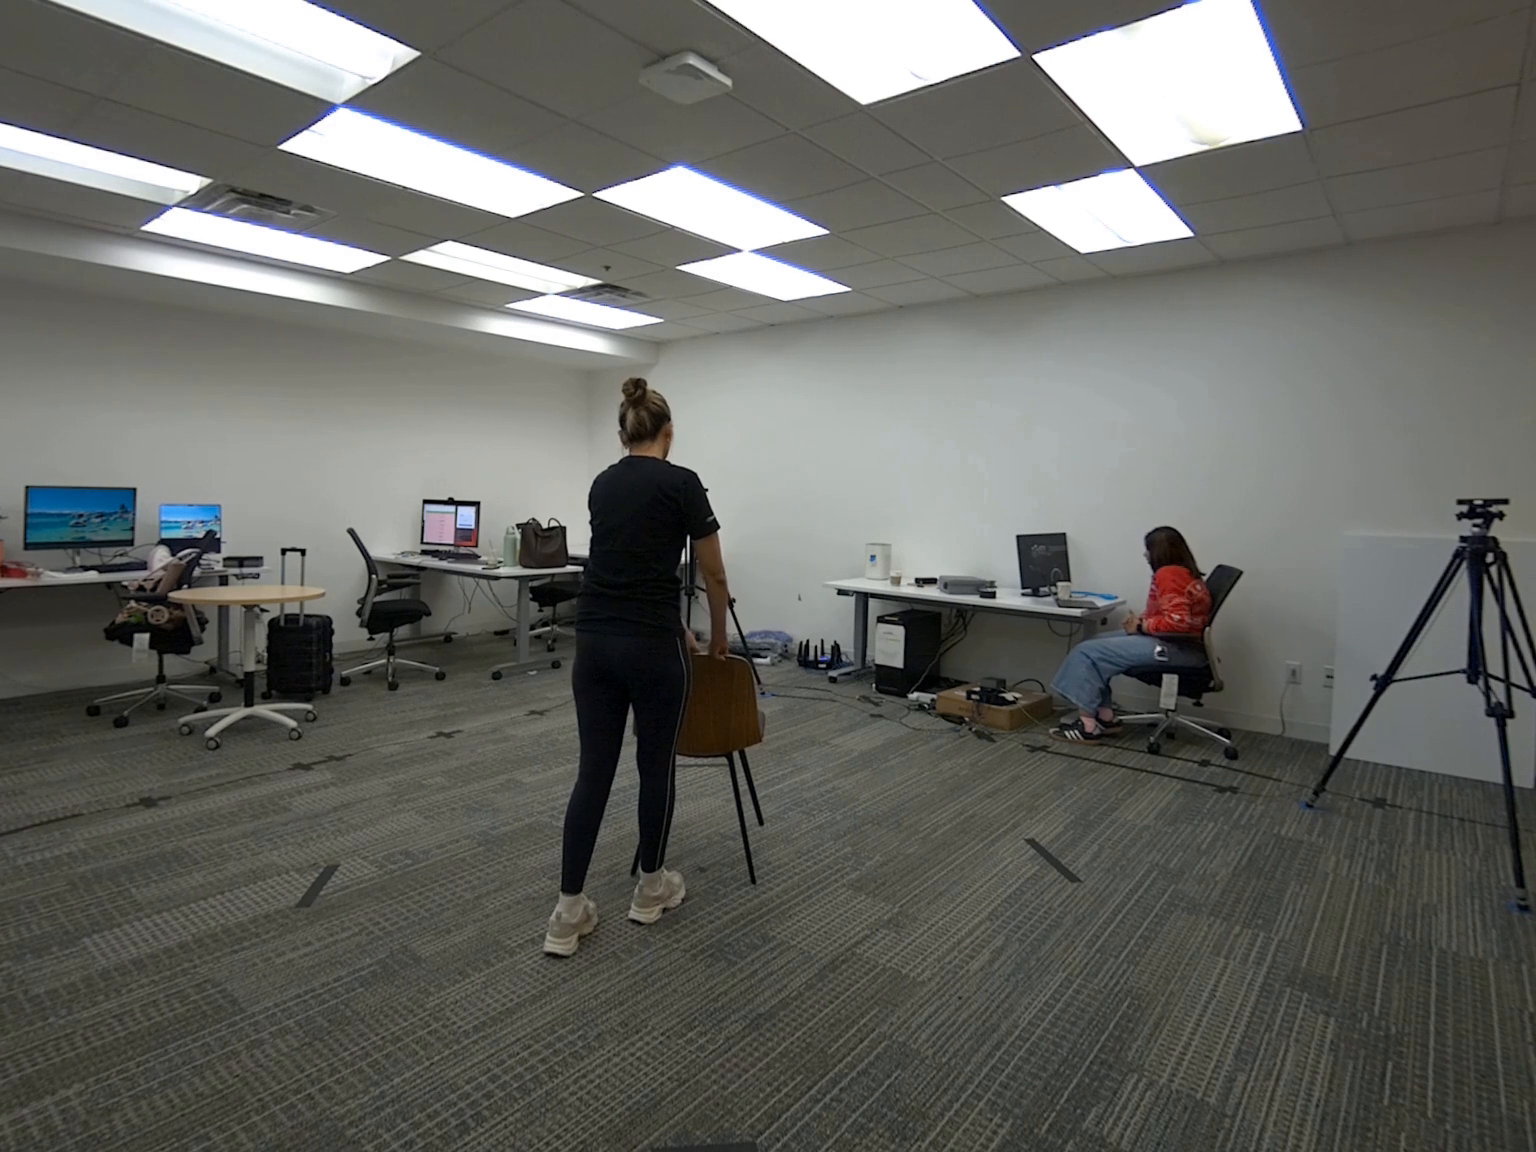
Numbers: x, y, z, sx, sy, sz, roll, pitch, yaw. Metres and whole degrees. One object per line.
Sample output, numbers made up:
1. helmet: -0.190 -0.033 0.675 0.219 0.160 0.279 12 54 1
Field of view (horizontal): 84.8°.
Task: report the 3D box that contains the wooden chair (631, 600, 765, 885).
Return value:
1. wooden chair: -0.260 0.619 3.190 0.481 0.867 0.526 1 12 5
